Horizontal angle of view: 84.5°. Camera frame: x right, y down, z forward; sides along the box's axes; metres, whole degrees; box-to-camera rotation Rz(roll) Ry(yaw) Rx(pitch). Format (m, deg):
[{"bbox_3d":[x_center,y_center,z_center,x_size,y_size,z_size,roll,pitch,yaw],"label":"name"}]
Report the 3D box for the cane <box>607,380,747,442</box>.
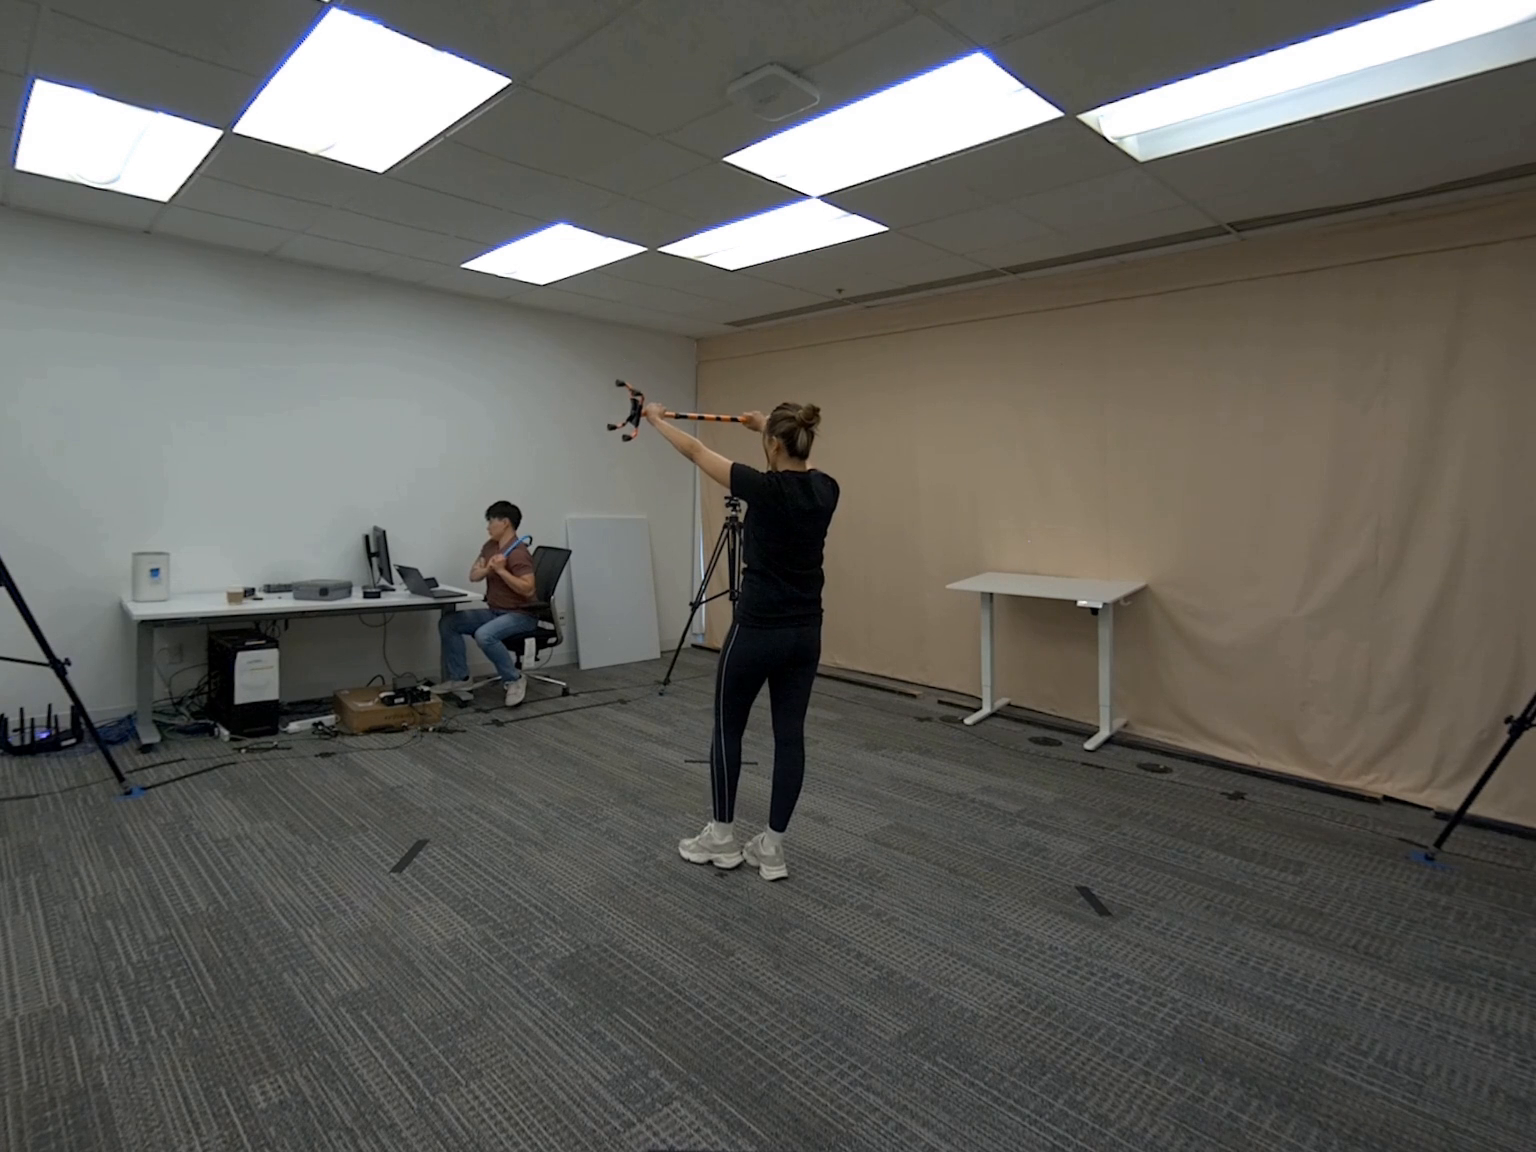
[{"bbox_3d":[-0.213,-0.659,3.473,0.888,0.204,0.156,-4,31,-37],"label":"cane"}]
